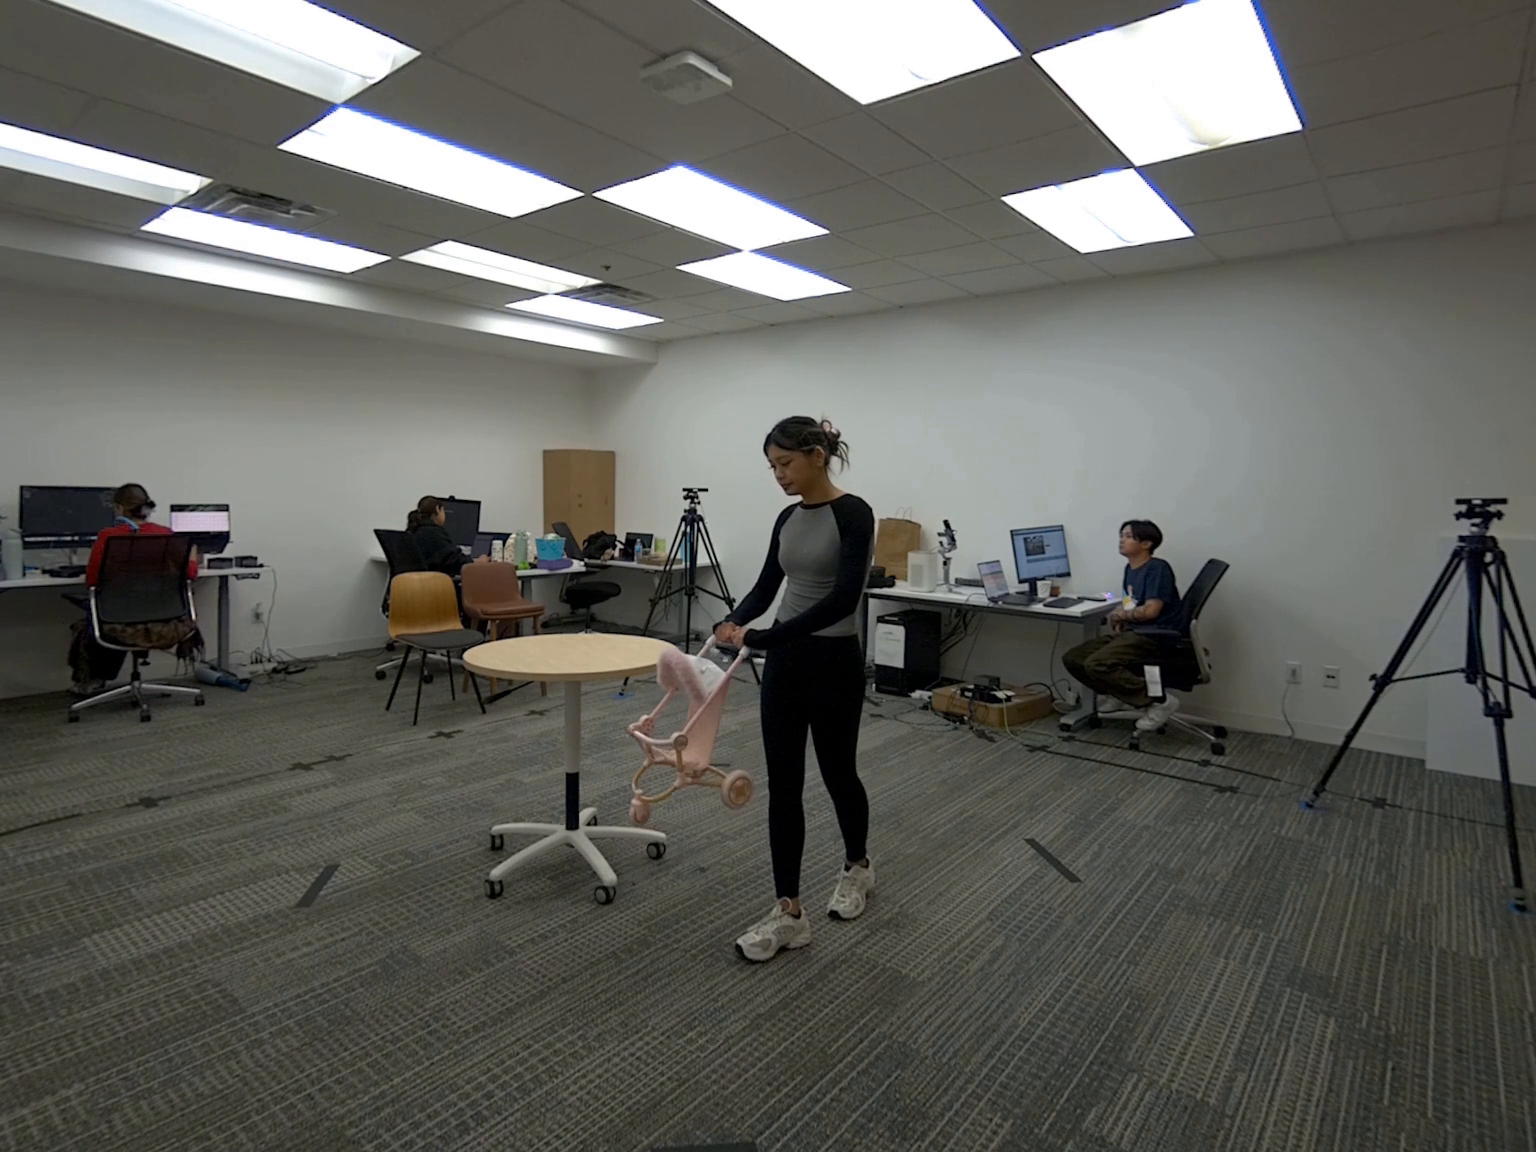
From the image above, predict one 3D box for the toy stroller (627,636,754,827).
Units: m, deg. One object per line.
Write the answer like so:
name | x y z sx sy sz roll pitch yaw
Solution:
toy stroller | -0.250 0.435 2.445 0.332 0.533 0.290 1 4 -30
